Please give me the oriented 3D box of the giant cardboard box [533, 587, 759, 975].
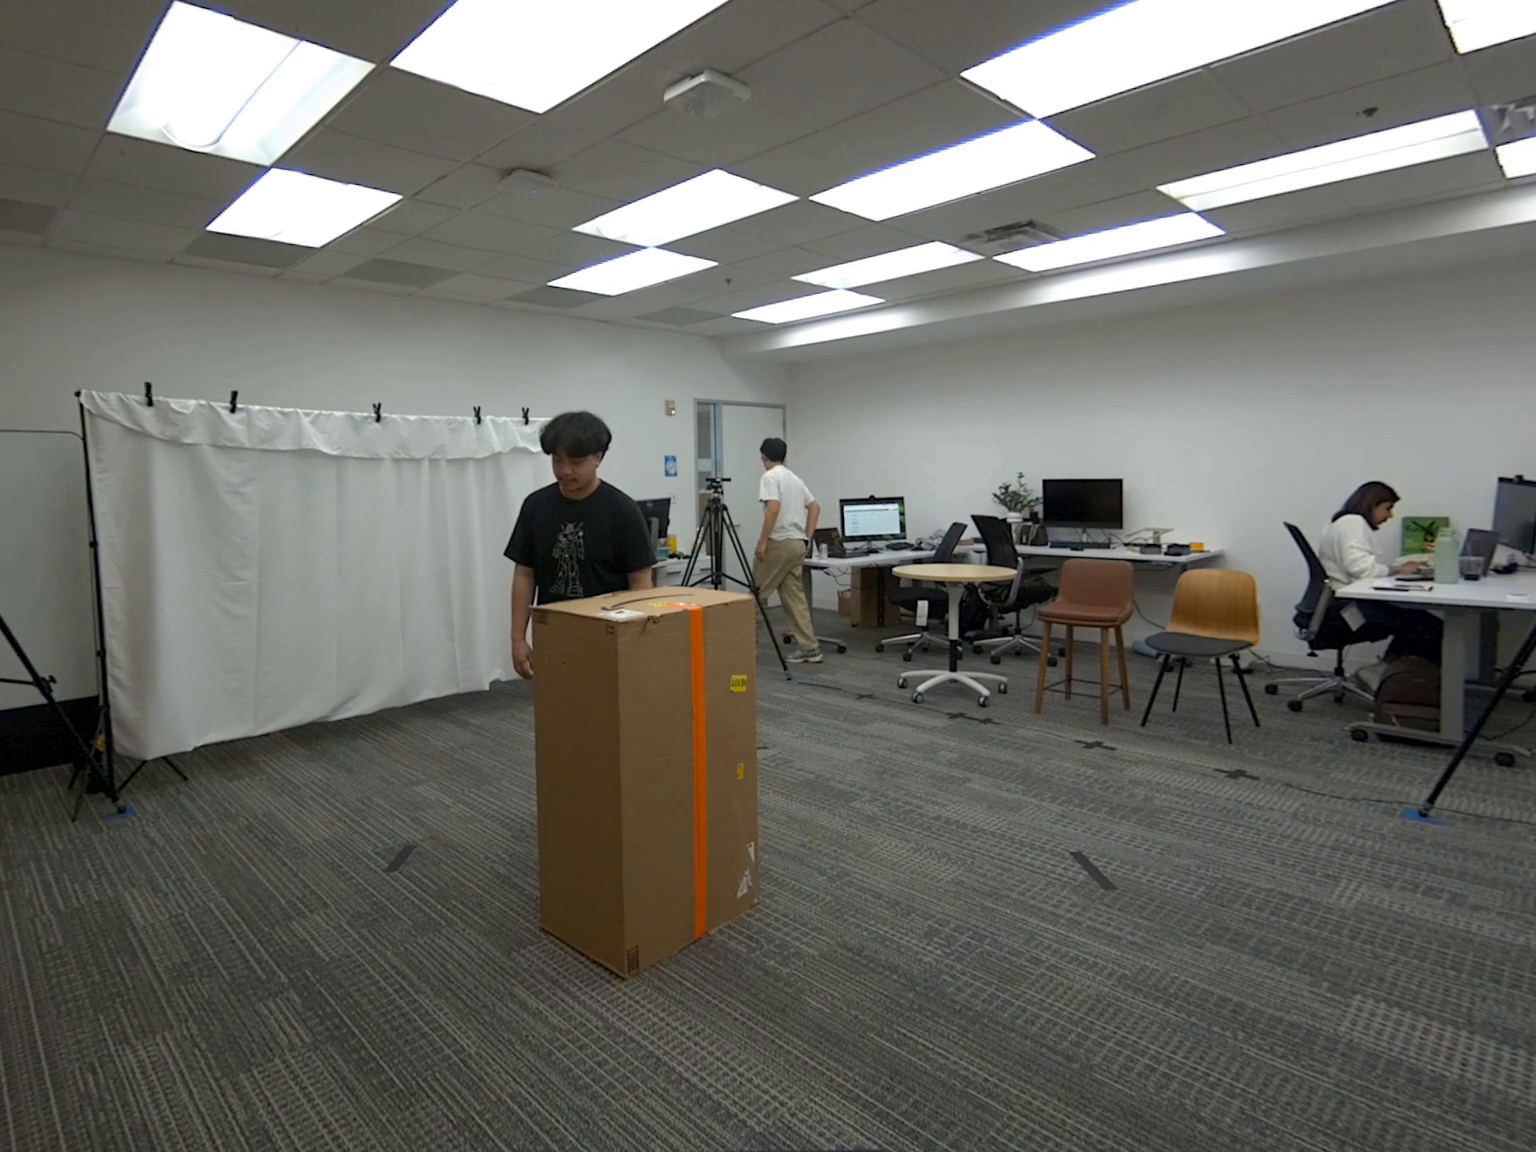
[{"bbox_3d":[-0.375,0.586,2.706,0.461,1.022,0.569,4,7,43],"label":"giant cardboard box"}]
